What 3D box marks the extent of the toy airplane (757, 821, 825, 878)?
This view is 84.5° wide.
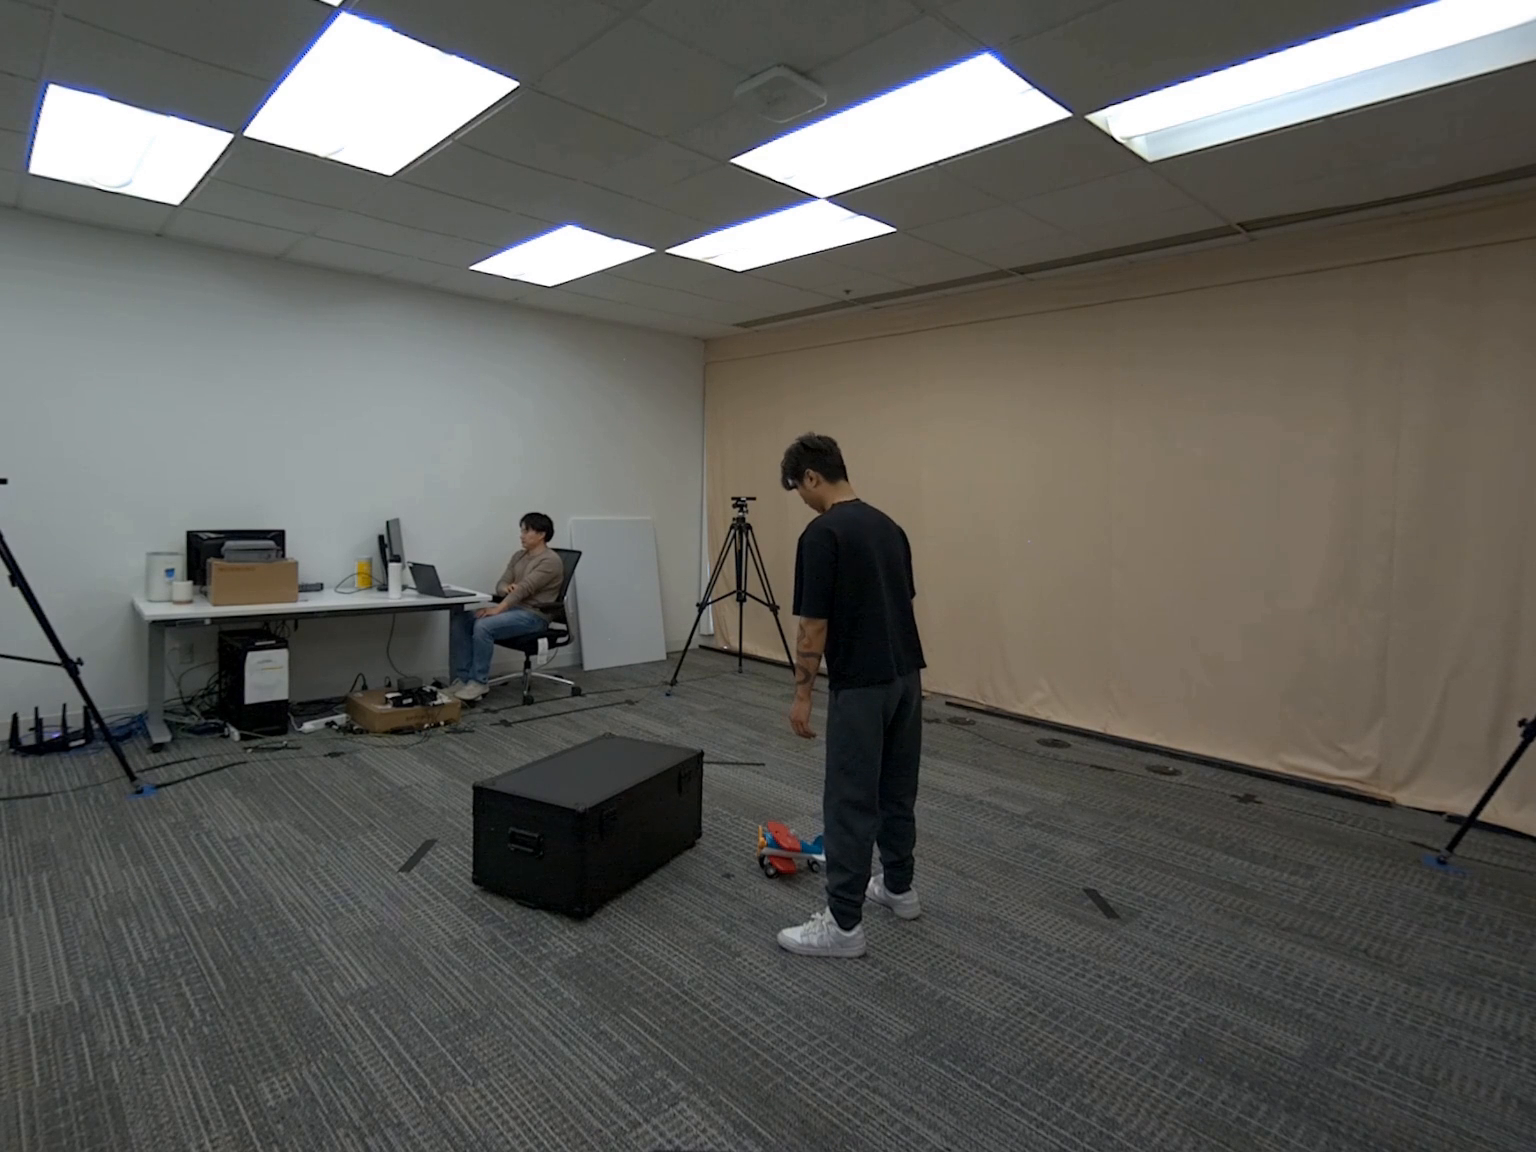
[{"bbox_3d":[0.065,1.028,3.174,0.253,0.156,0.257,-4,6,-41],"label":"toy airplane"}]
